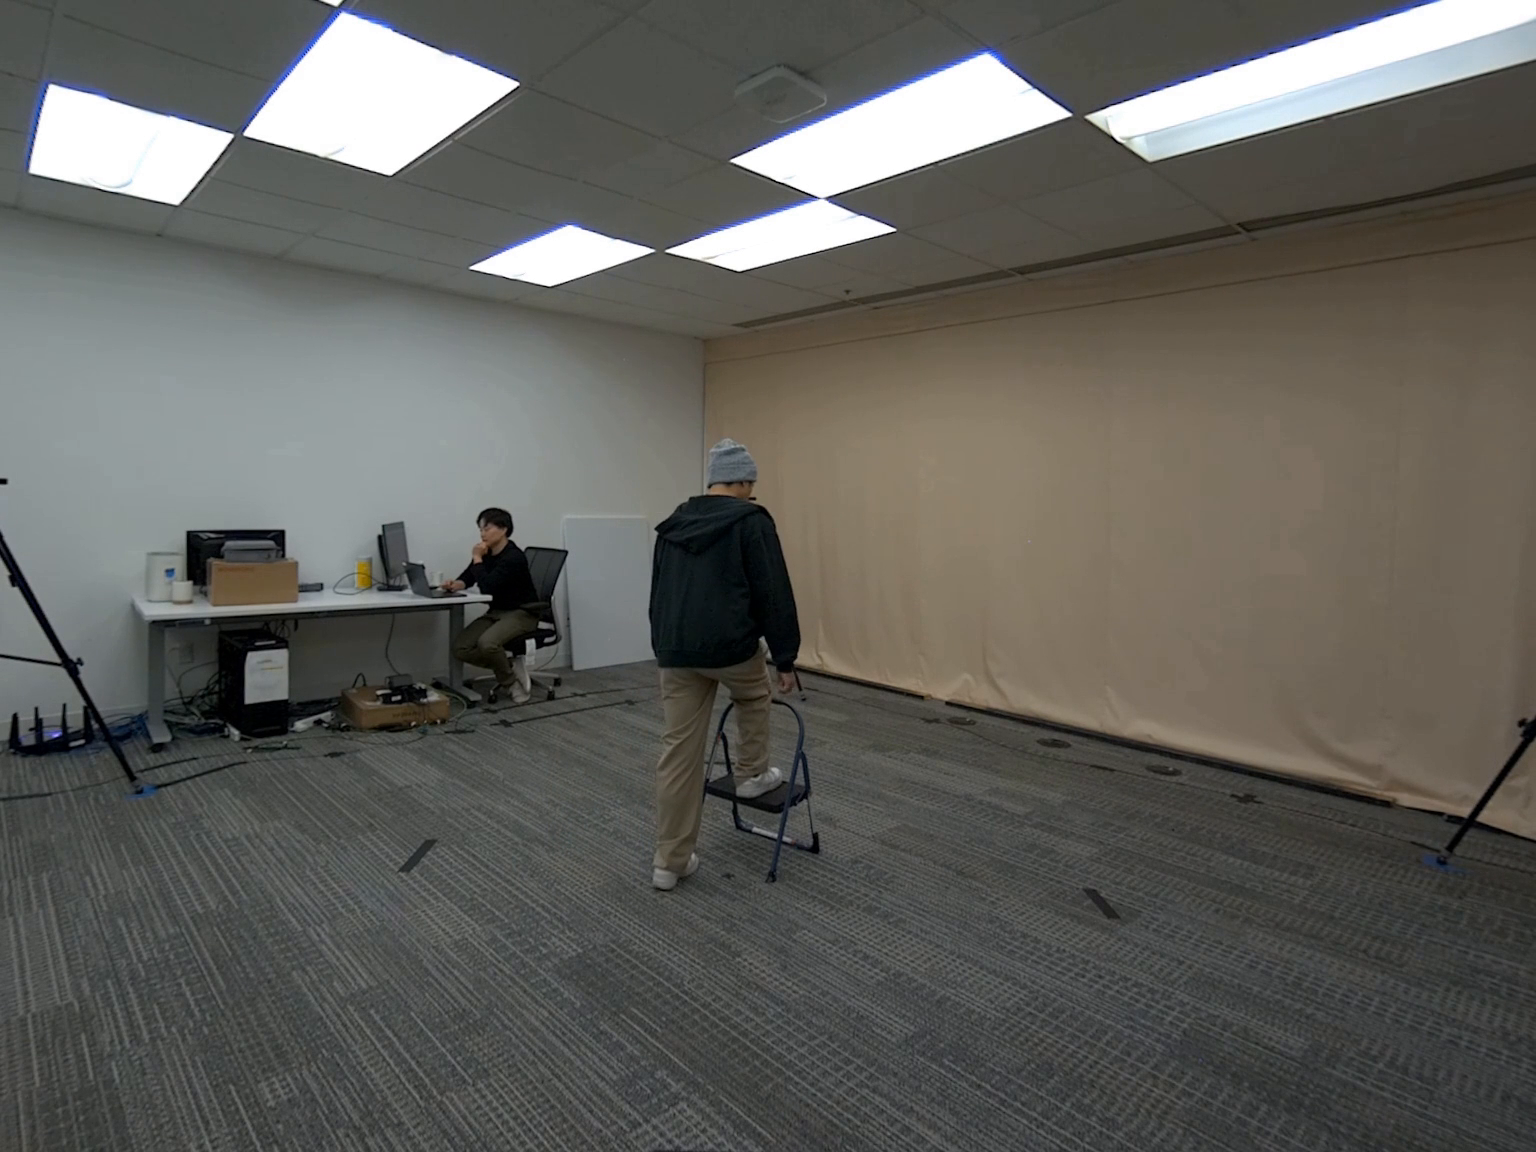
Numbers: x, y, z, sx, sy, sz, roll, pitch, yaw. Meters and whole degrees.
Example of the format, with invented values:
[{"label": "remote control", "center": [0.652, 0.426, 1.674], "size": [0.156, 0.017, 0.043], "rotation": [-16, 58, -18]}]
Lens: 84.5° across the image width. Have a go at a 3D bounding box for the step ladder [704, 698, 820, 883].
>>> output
[{"label": "step ladder", "center": [-0.055, 0.790, 3.308], "size": [0.441, 0.605, 0.341], "rotation": [4, 4, 36]}]
